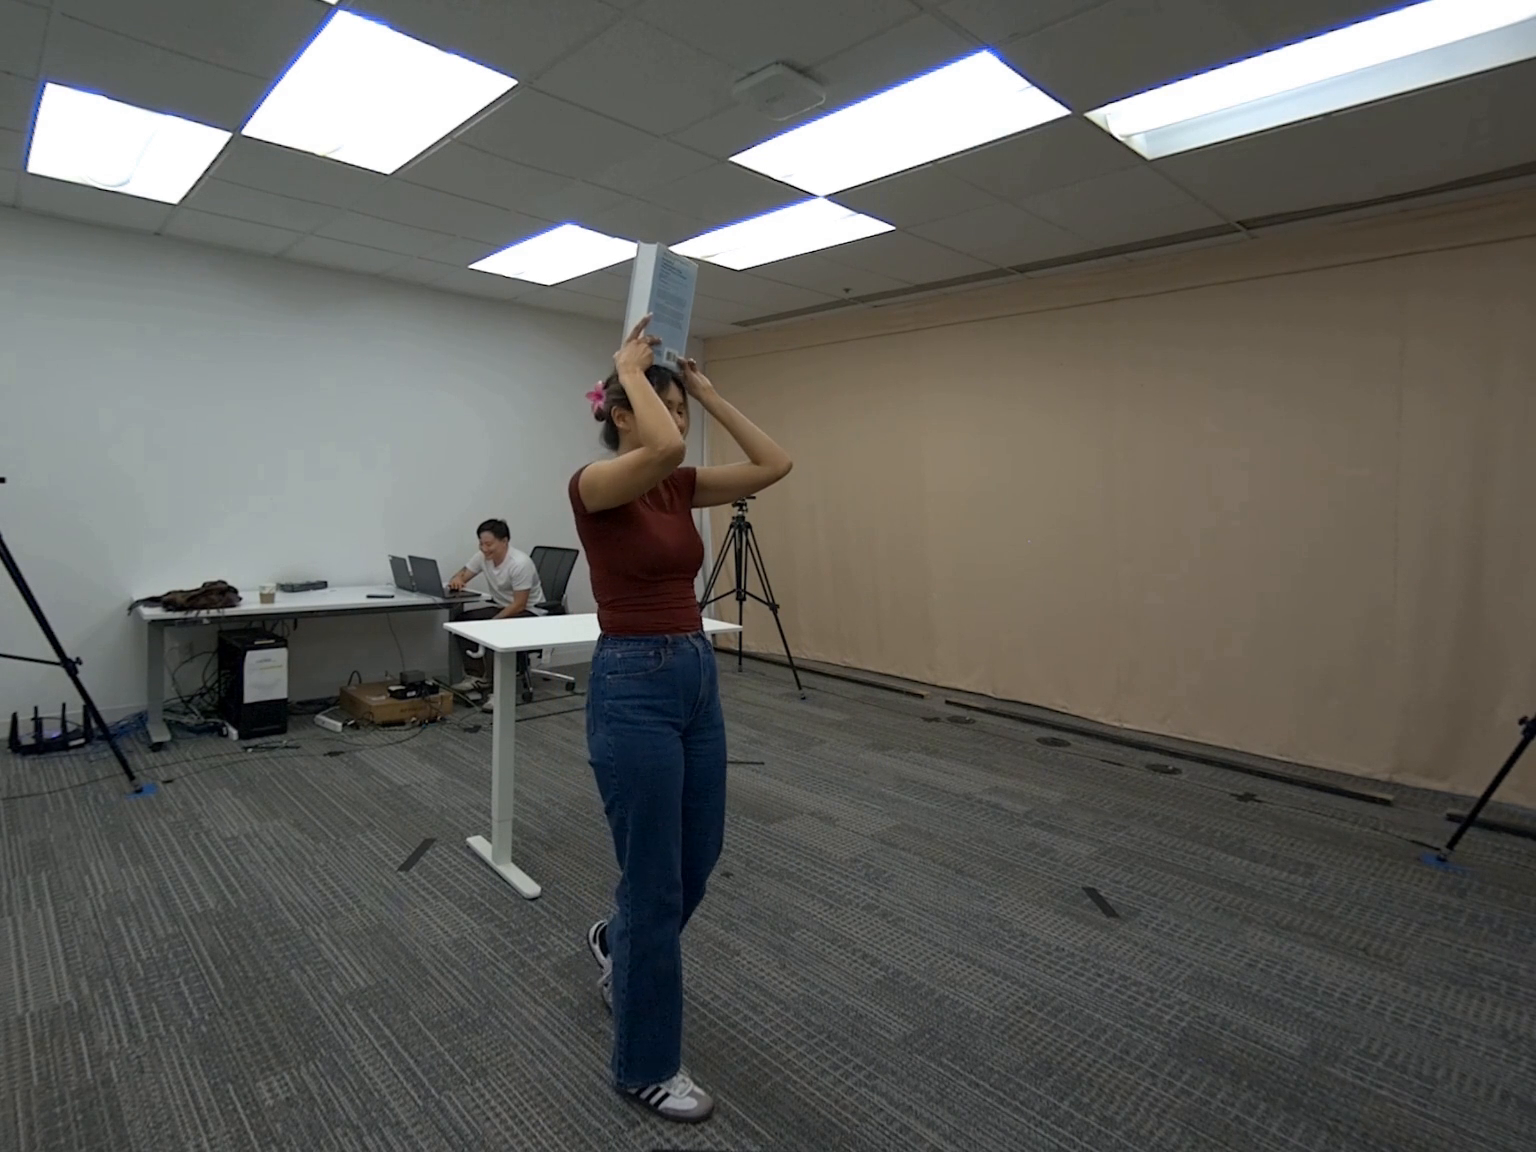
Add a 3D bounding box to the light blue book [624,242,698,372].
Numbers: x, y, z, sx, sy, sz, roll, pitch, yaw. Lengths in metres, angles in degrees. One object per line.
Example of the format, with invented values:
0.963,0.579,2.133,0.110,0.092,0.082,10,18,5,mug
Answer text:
-0.254,-0.618,1.952,0.060,0.260,0.188,12,6,23,light blue book
